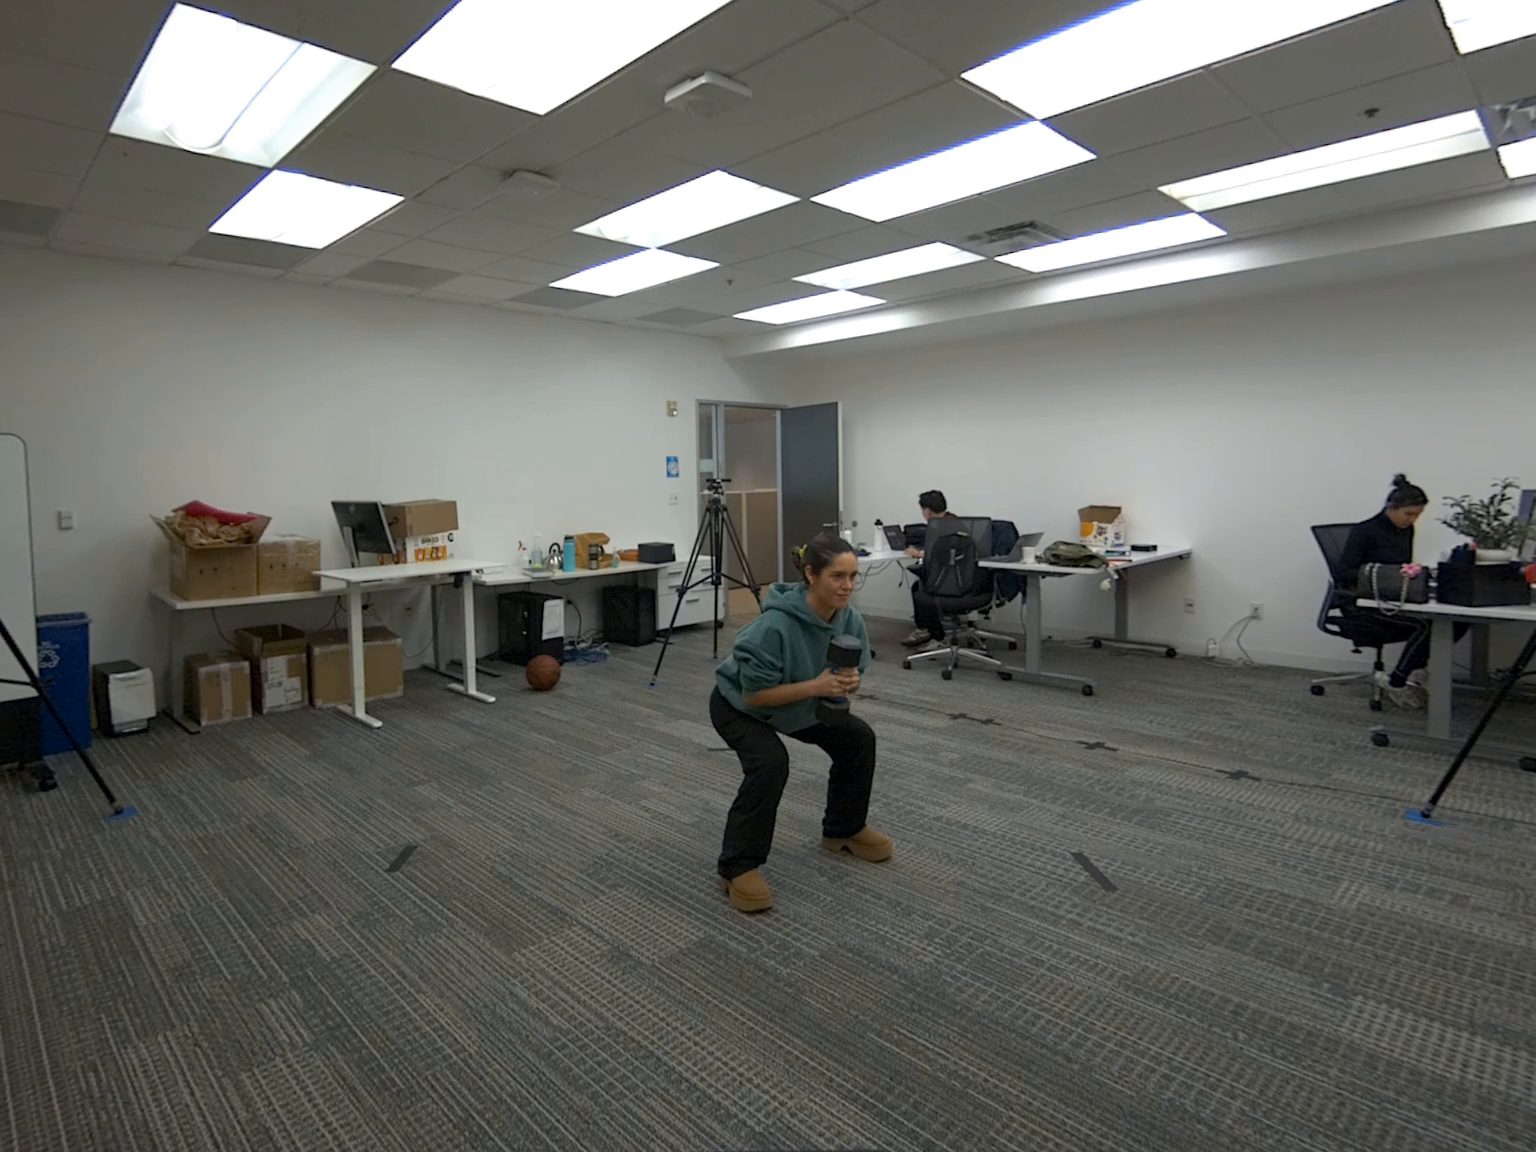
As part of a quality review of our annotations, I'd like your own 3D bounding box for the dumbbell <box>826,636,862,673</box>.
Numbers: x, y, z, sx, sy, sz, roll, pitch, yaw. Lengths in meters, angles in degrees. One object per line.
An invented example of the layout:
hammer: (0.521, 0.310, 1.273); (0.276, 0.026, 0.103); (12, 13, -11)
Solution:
dumbbell: (0.219, 0.325, 2.818); (0.110, 0.290, 0.123); (11, 15, 7)
